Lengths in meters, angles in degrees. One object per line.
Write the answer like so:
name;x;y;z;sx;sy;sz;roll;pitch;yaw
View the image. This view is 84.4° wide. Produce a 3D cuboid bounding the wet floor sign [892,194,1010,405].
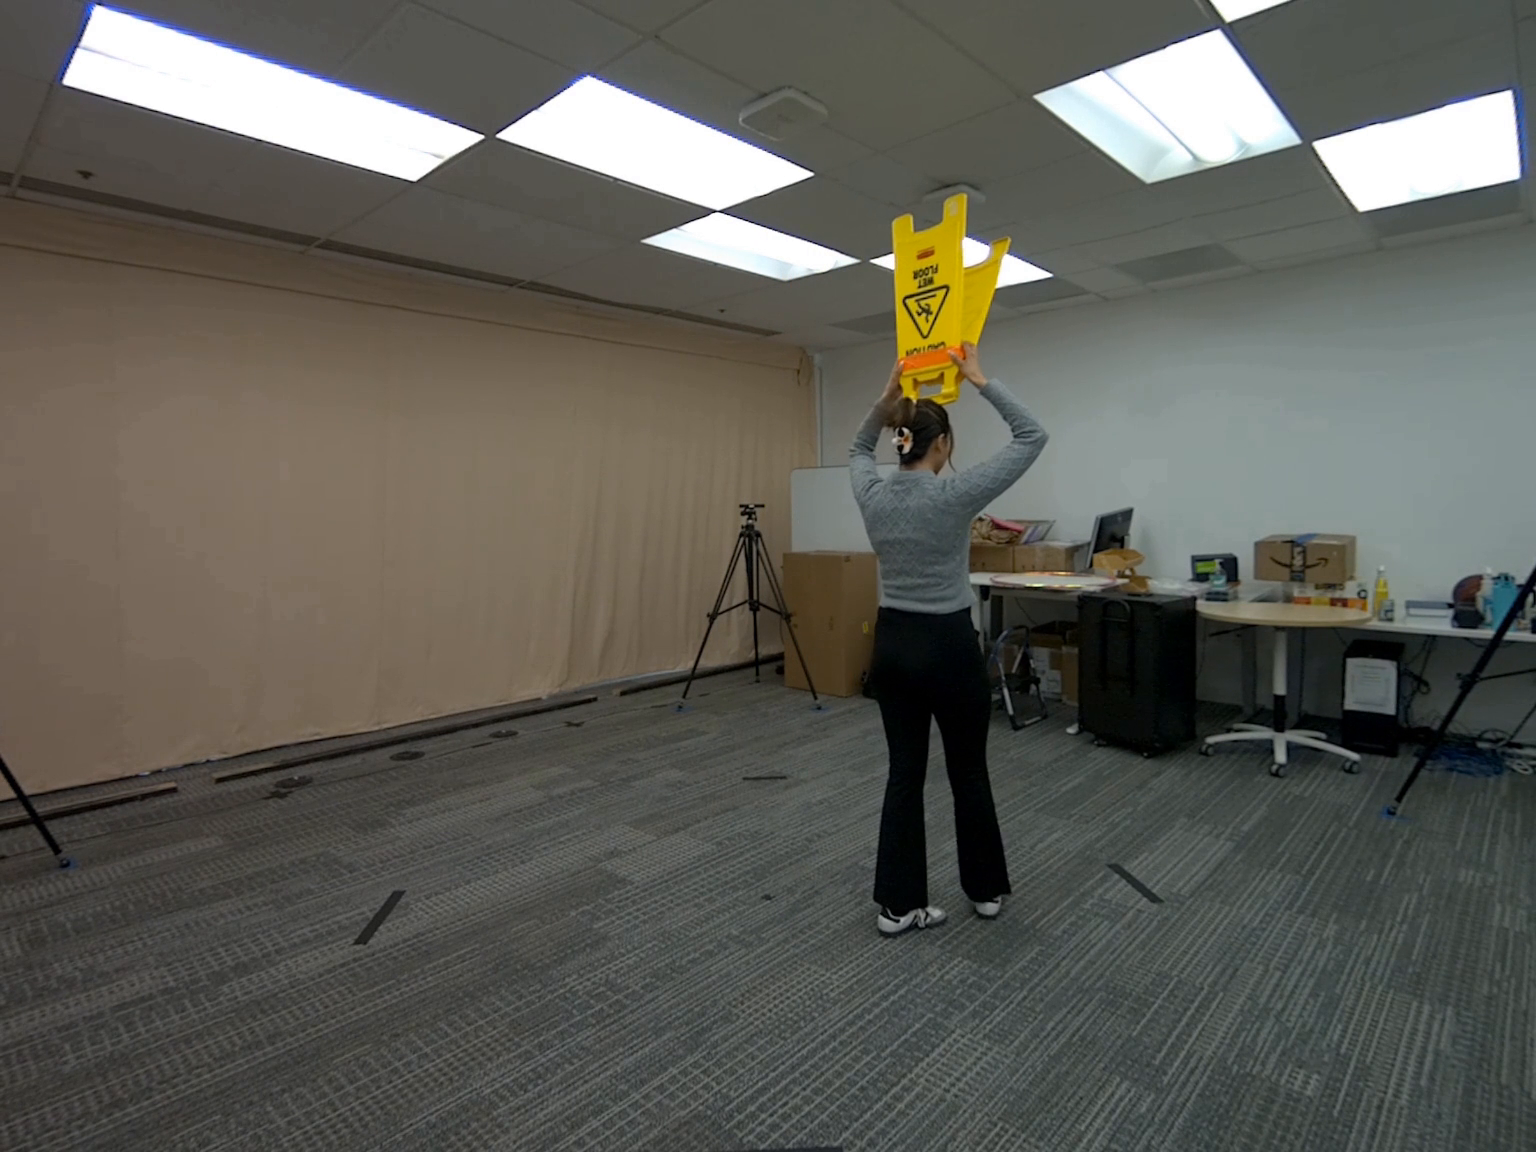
wet floor sign;0.576;-0.863;2.788;0.279;0.649;0.291;20;-16;-41
